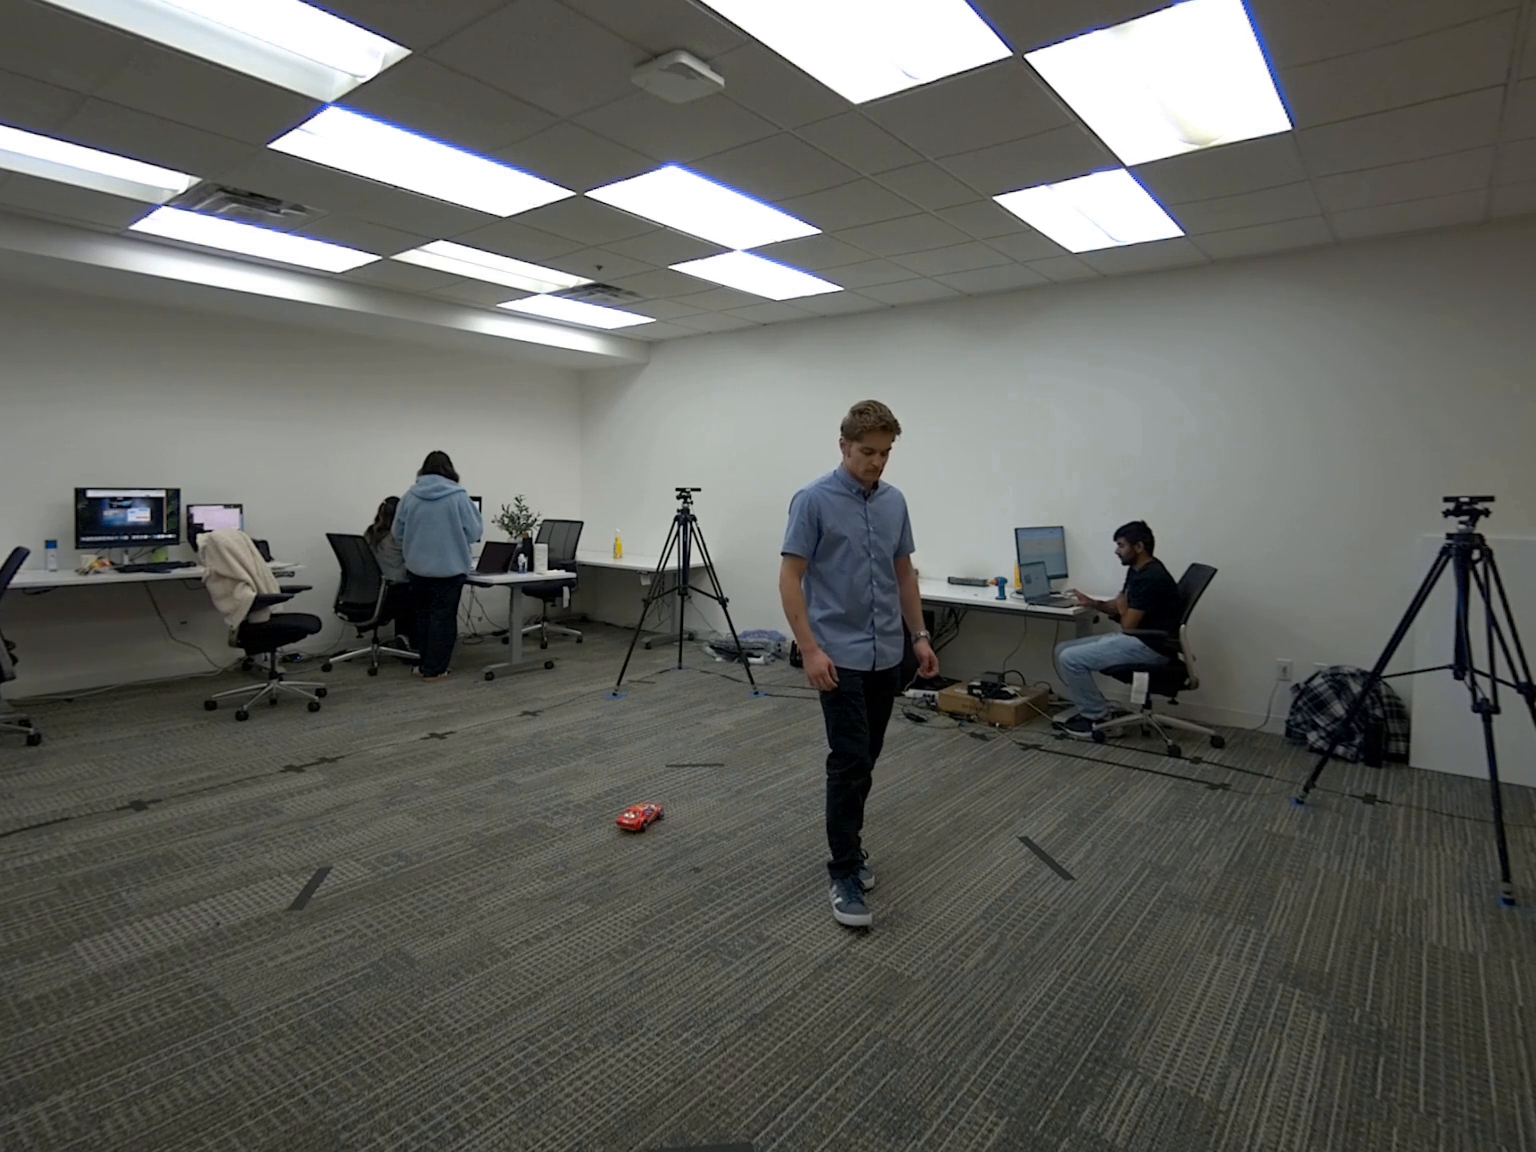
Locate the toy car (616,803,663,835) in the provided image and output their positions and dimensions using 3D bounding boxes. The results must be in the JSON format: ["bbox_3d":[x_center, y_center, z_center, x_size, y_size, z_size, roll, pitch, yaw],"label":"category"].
[{"bbox_3d":[-0.543,0.992,3.508,0.134,0.084,0.247,3,-6,24],"label":"toy car"}]
